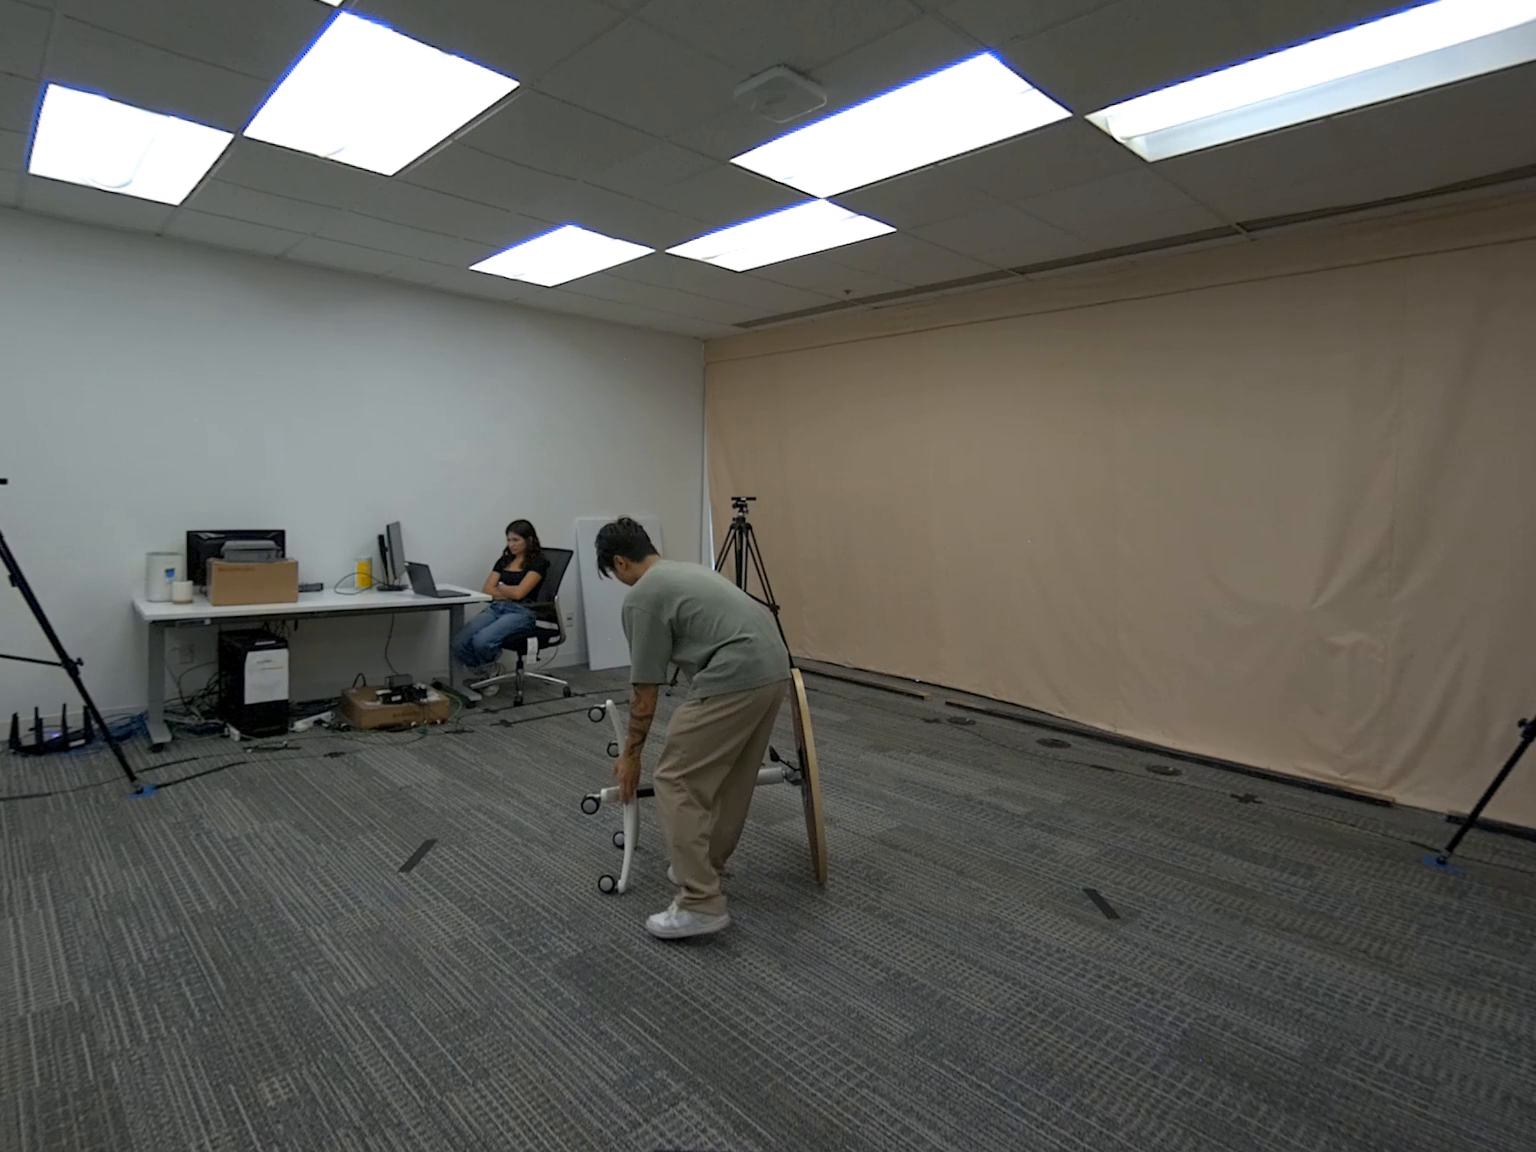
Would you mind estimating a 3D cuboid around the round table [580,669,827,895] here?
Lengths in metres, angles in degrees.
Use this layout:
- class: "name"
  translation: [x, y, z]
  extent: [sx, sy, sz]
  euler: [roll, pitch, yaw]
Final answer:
- class: "round table"
  translation: [-0.244, 0.762, 3.137]
  extent: [0.786, 0.783, 0.788]
  euler: [-6, 4, -2]
